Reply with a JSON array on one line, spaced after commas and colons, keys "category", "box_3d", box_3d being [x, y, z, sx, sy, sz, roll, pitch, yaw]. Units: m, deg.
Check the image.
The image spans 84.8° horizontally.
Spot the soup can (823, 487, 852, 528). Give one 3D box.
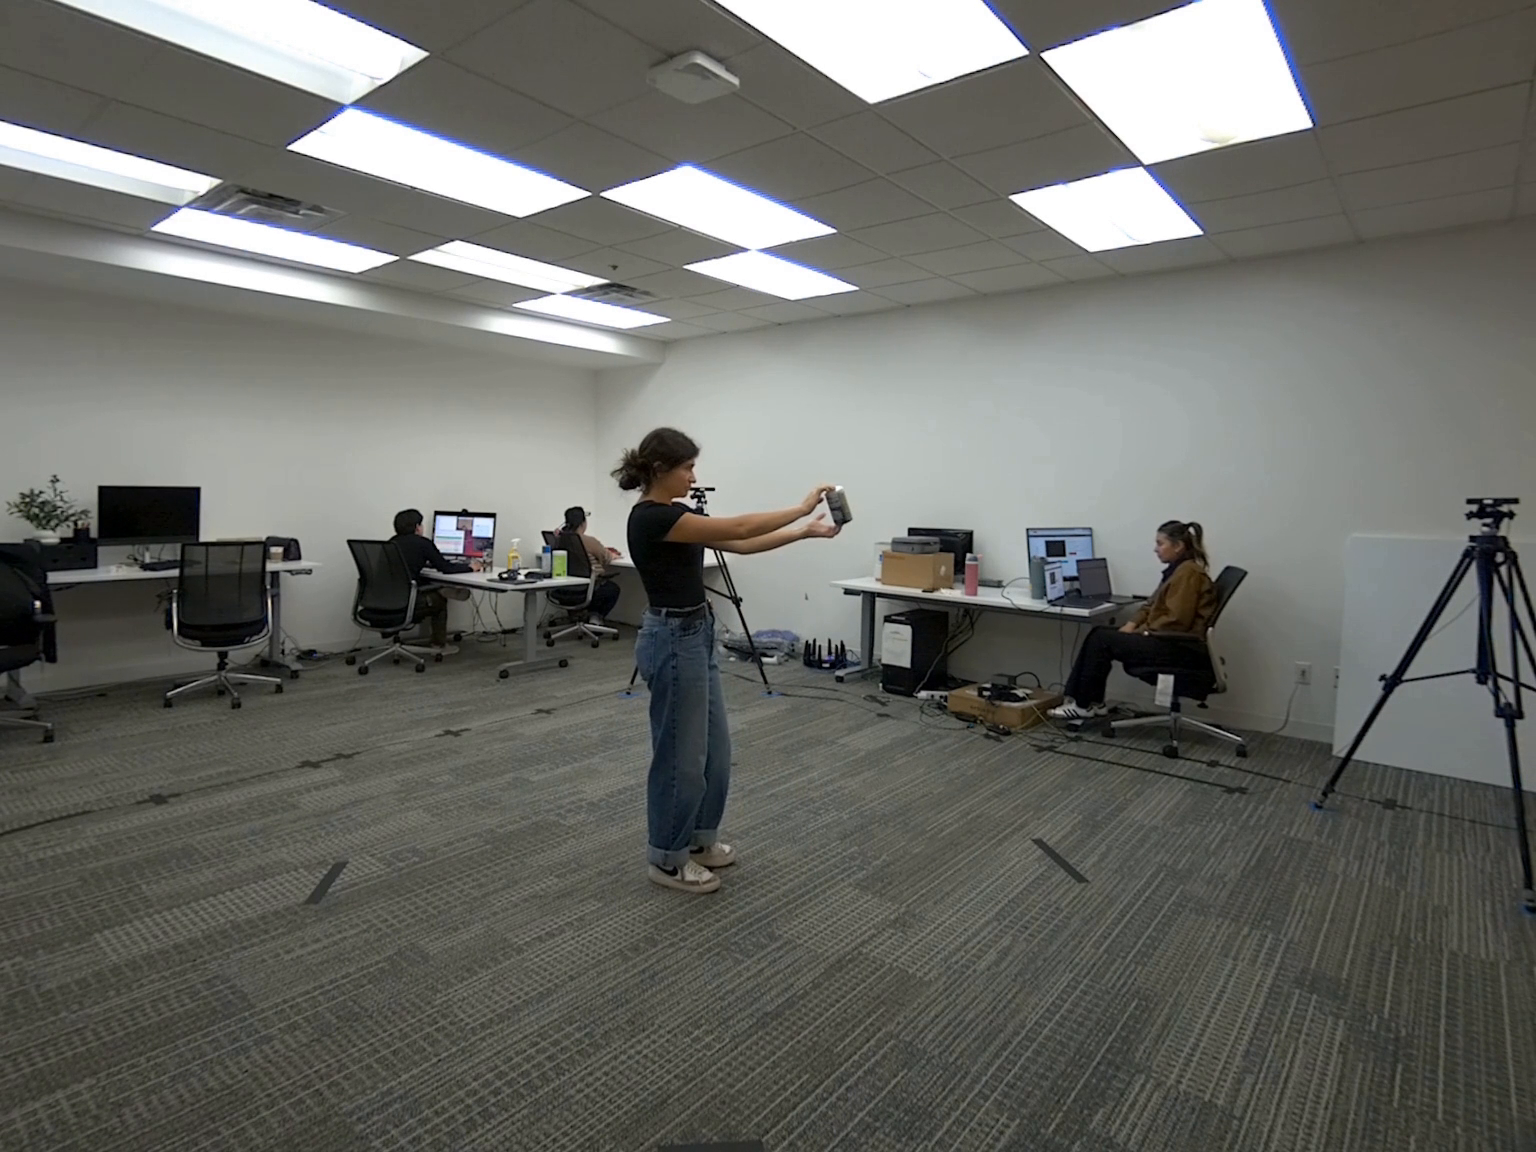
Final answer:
[{"category": "soup can", "box_3d": [0.230, -0.245, 2.903, 0.067, 0.120, 0.068, -16, 13, 2]}]
